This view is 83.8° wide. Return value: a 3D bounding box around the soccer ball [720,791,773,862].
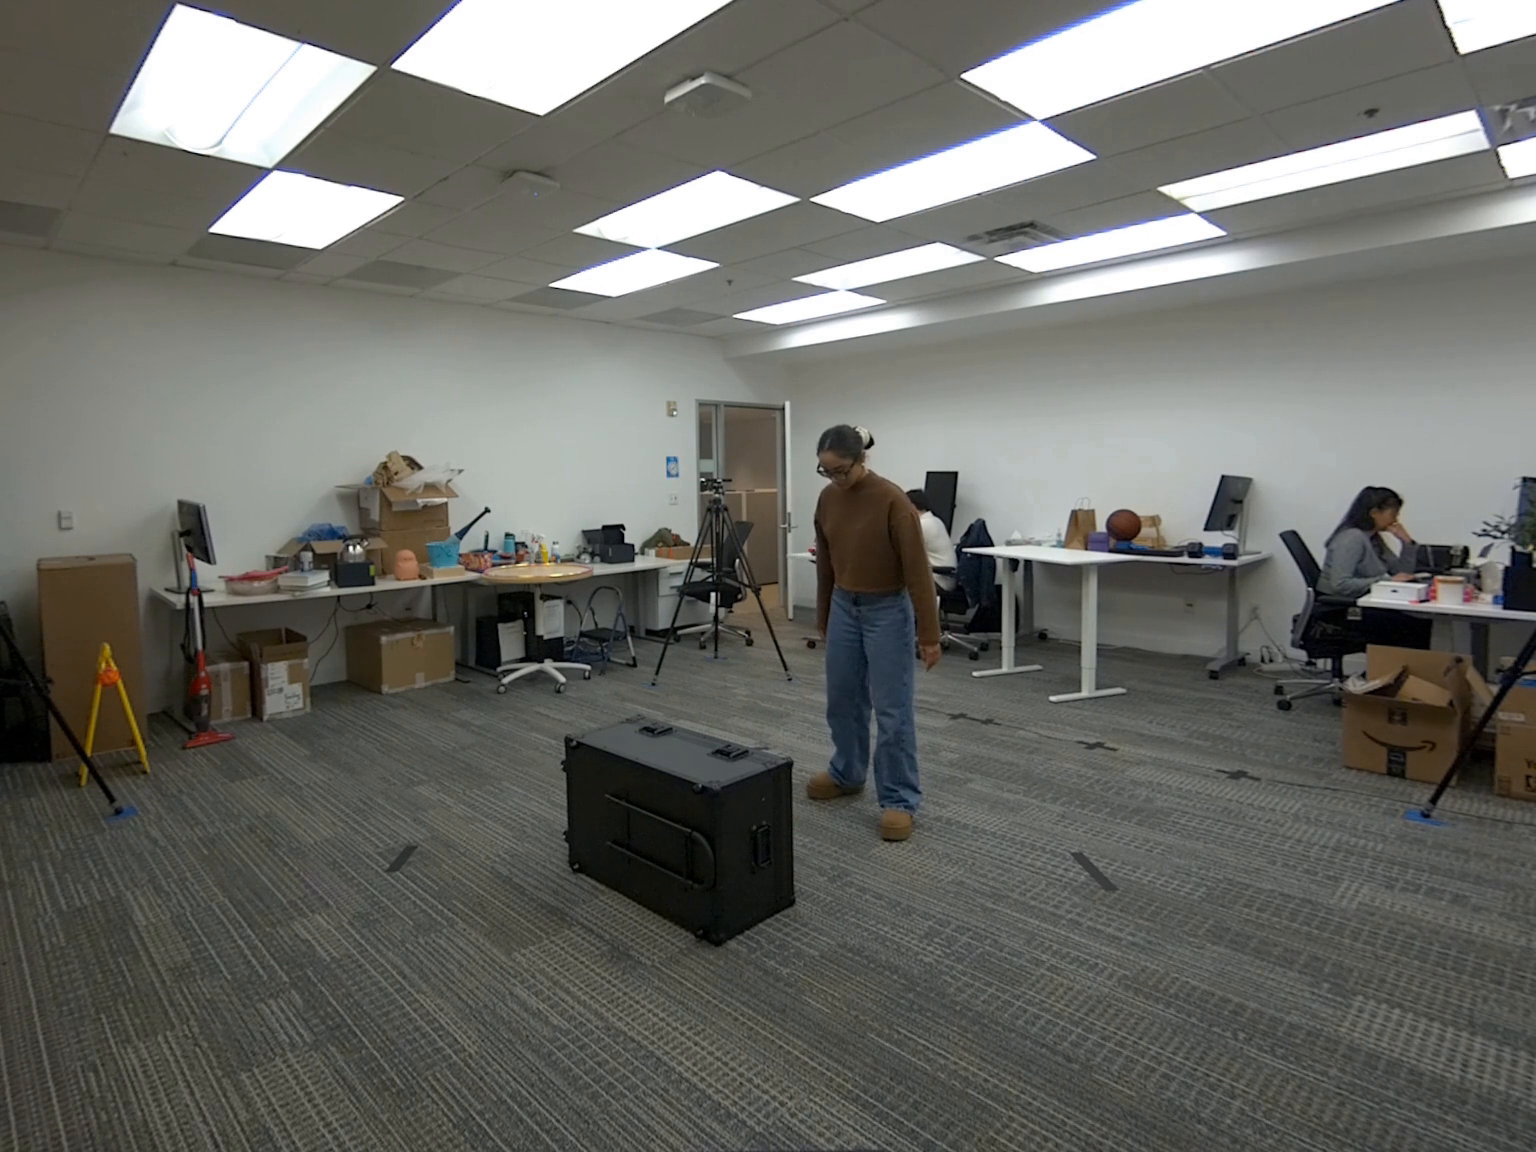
[{"bbox_3d":[-0.085,0.930,3.203,0.187,0.187,0.188,-1,5,-2],"label":"soccer ball"}]
